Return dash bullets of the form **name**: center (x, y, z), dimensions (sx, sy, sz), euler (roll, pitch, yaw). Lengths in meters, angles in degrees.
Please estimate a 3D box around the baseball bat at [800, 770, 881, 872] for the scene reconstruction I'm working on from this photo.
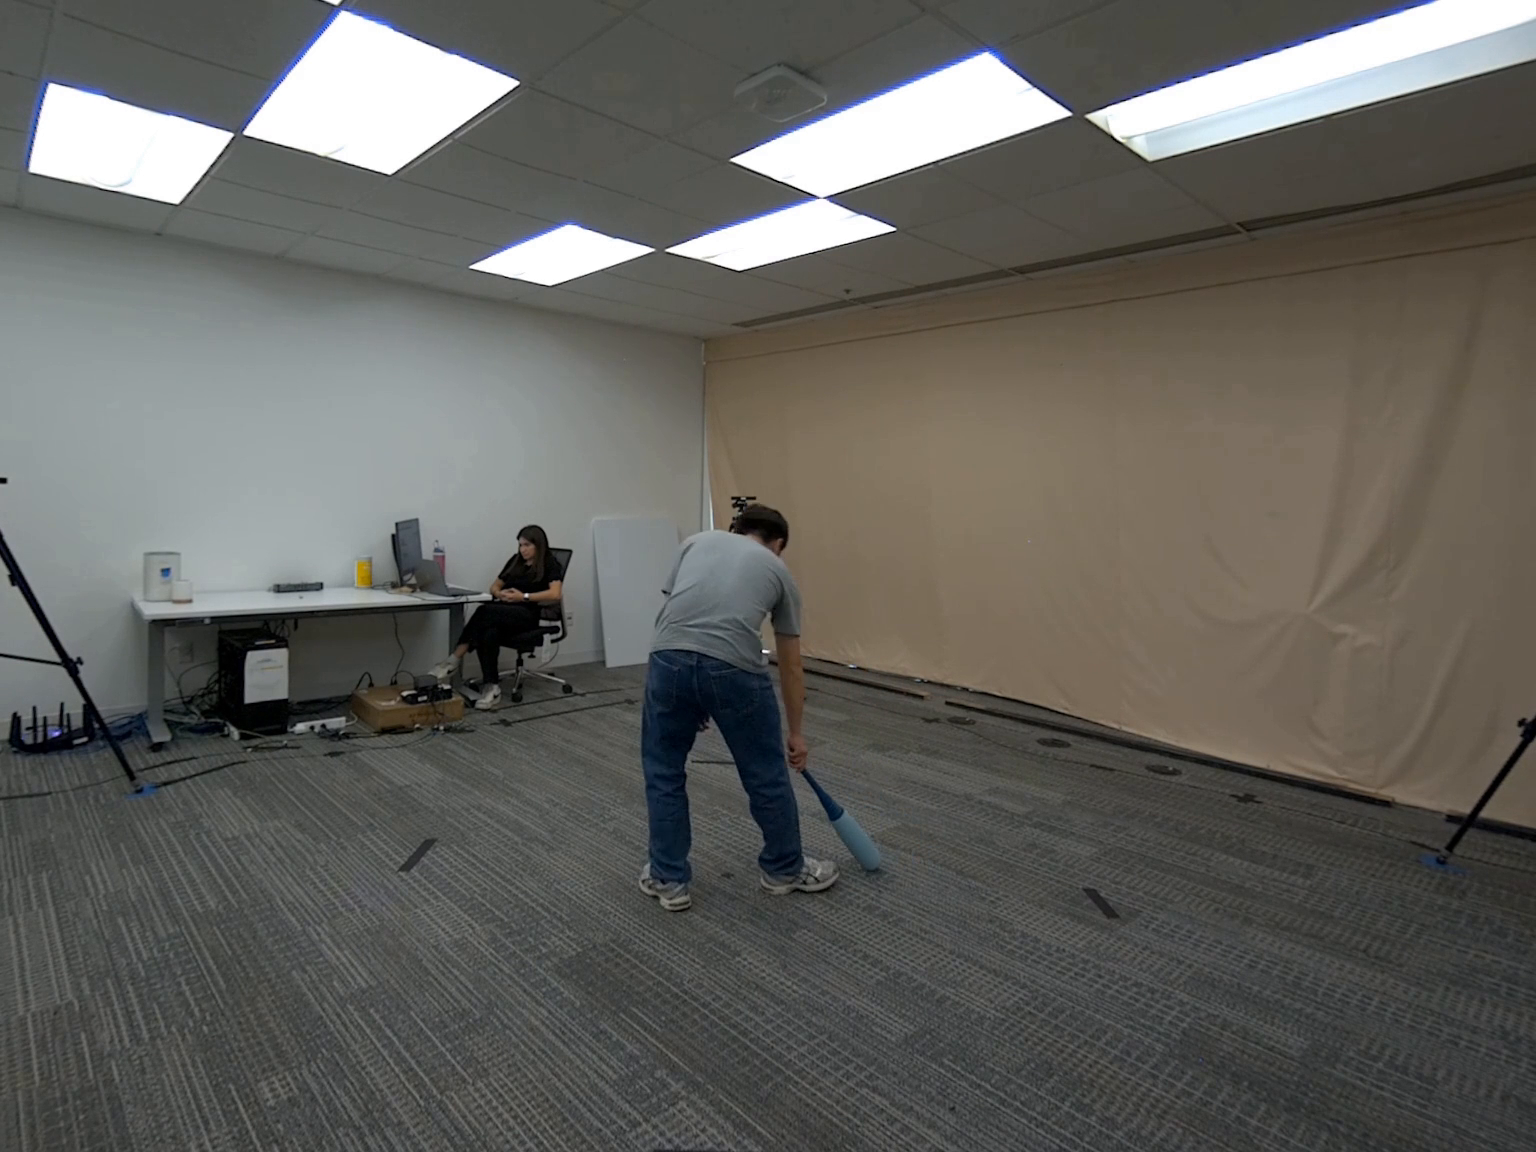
- **baseball bat**: center (0.234, 0.880, 3.147), dimensions (0.089, 0.538, 0.090), euler (-34, 9, 6)
